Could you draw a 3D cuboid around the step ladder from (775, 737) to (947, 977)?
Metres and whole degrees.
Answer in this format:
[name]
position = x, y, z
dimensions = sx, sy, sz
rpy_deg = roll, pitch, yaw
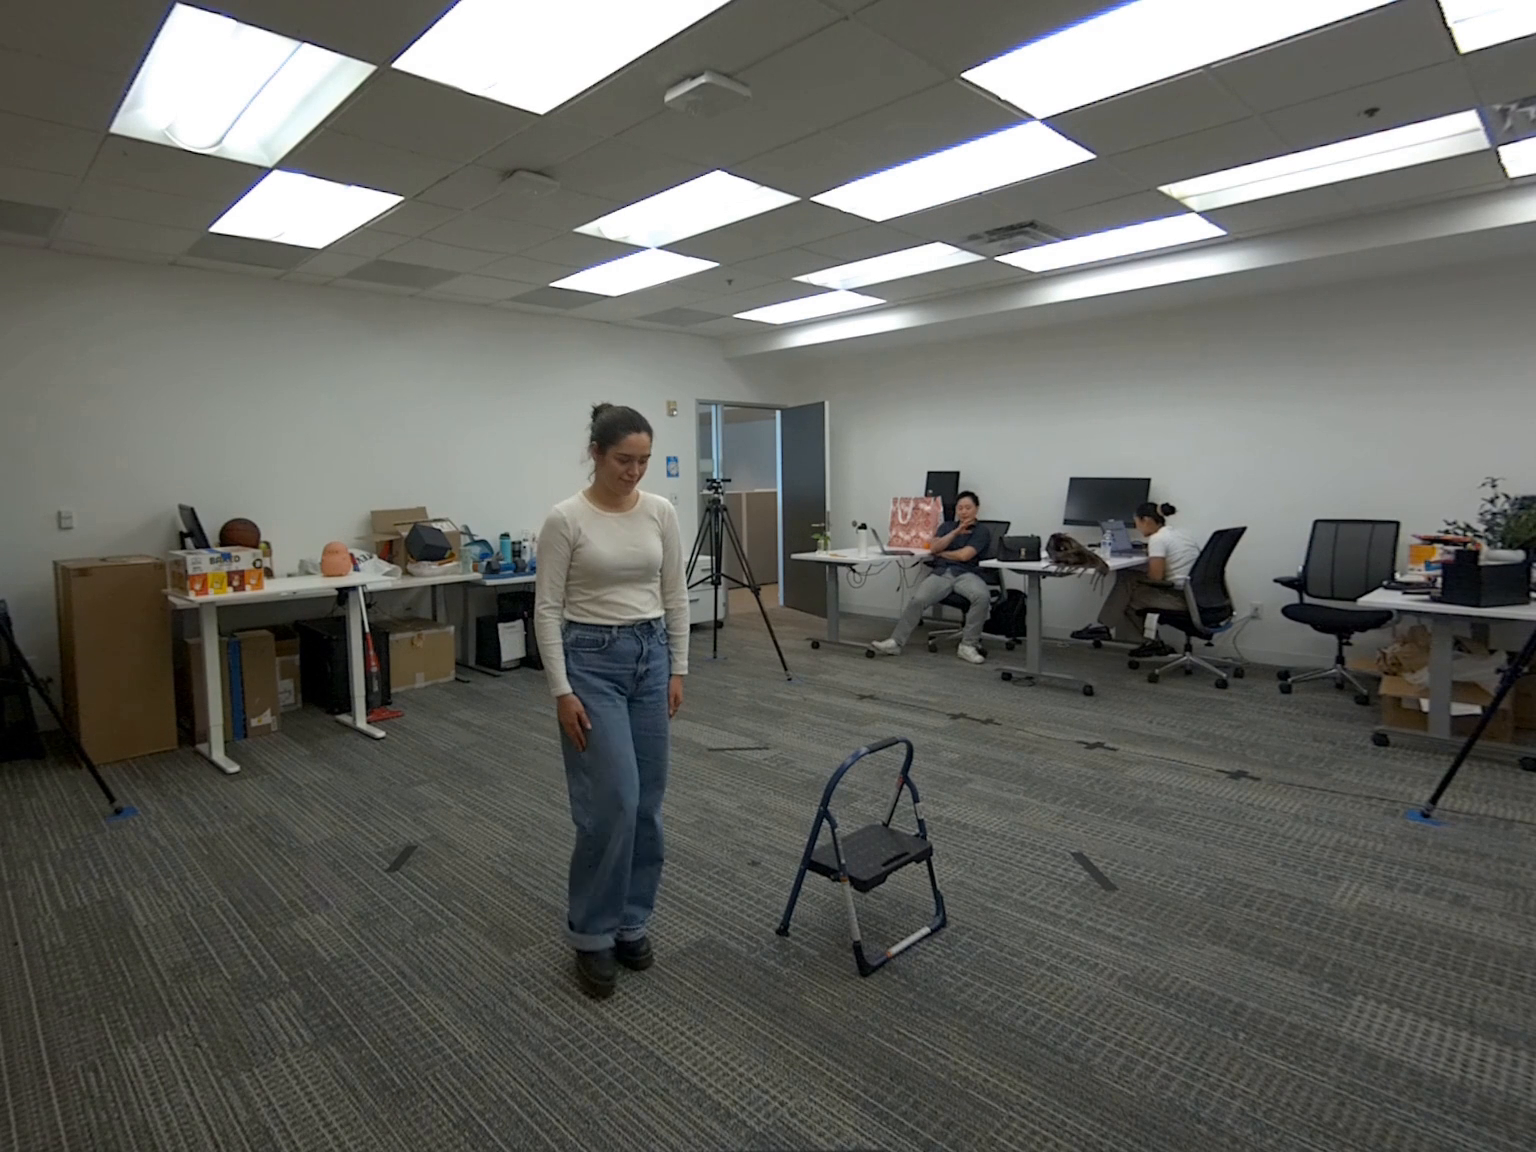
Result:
[step ladder]
position = 0.293, 0.792, 2.627
dimensions = 0.419, 0.604, 0.360
rpy_deg = -6, 6, -45
